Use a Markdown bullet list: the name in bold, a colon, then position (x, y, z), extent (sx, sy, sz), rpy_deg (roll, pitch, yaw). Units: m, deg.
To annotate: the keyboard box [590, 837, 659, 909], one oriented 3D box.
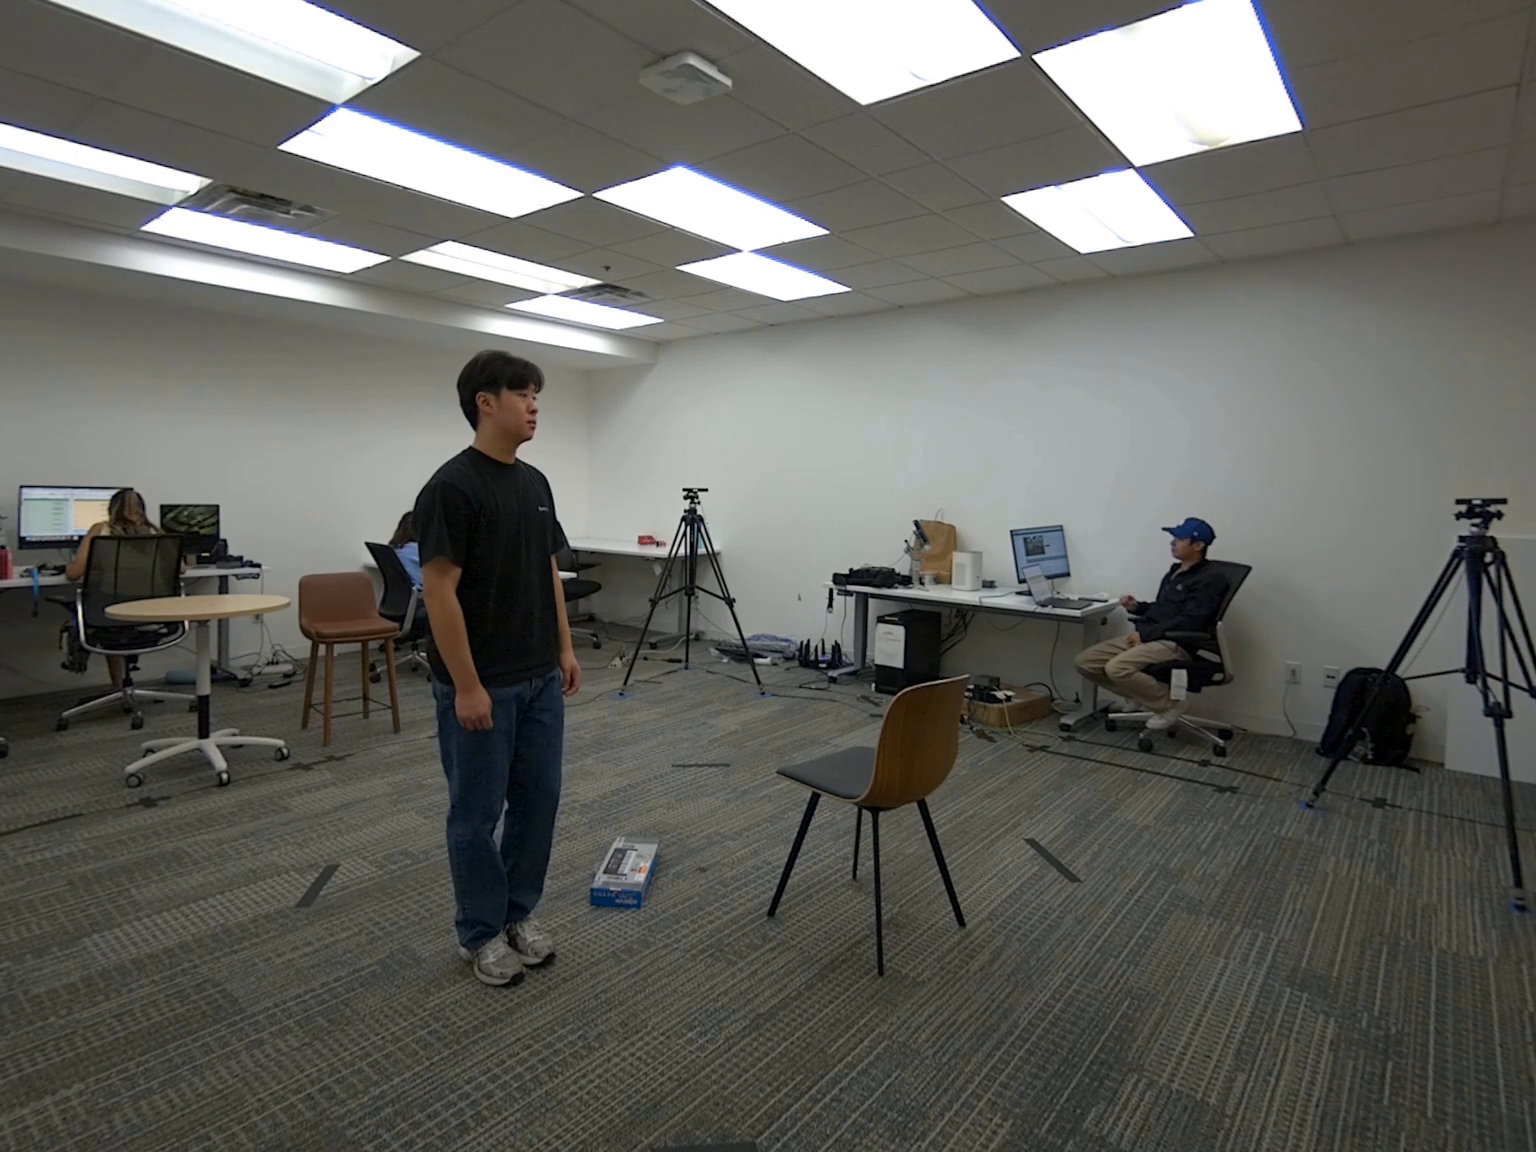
- **keyboard box**: position (-0.509, 1.043, 3.027), extent (0.177, 0.059, 0.437), rpy_deg (2, 5, 2)
